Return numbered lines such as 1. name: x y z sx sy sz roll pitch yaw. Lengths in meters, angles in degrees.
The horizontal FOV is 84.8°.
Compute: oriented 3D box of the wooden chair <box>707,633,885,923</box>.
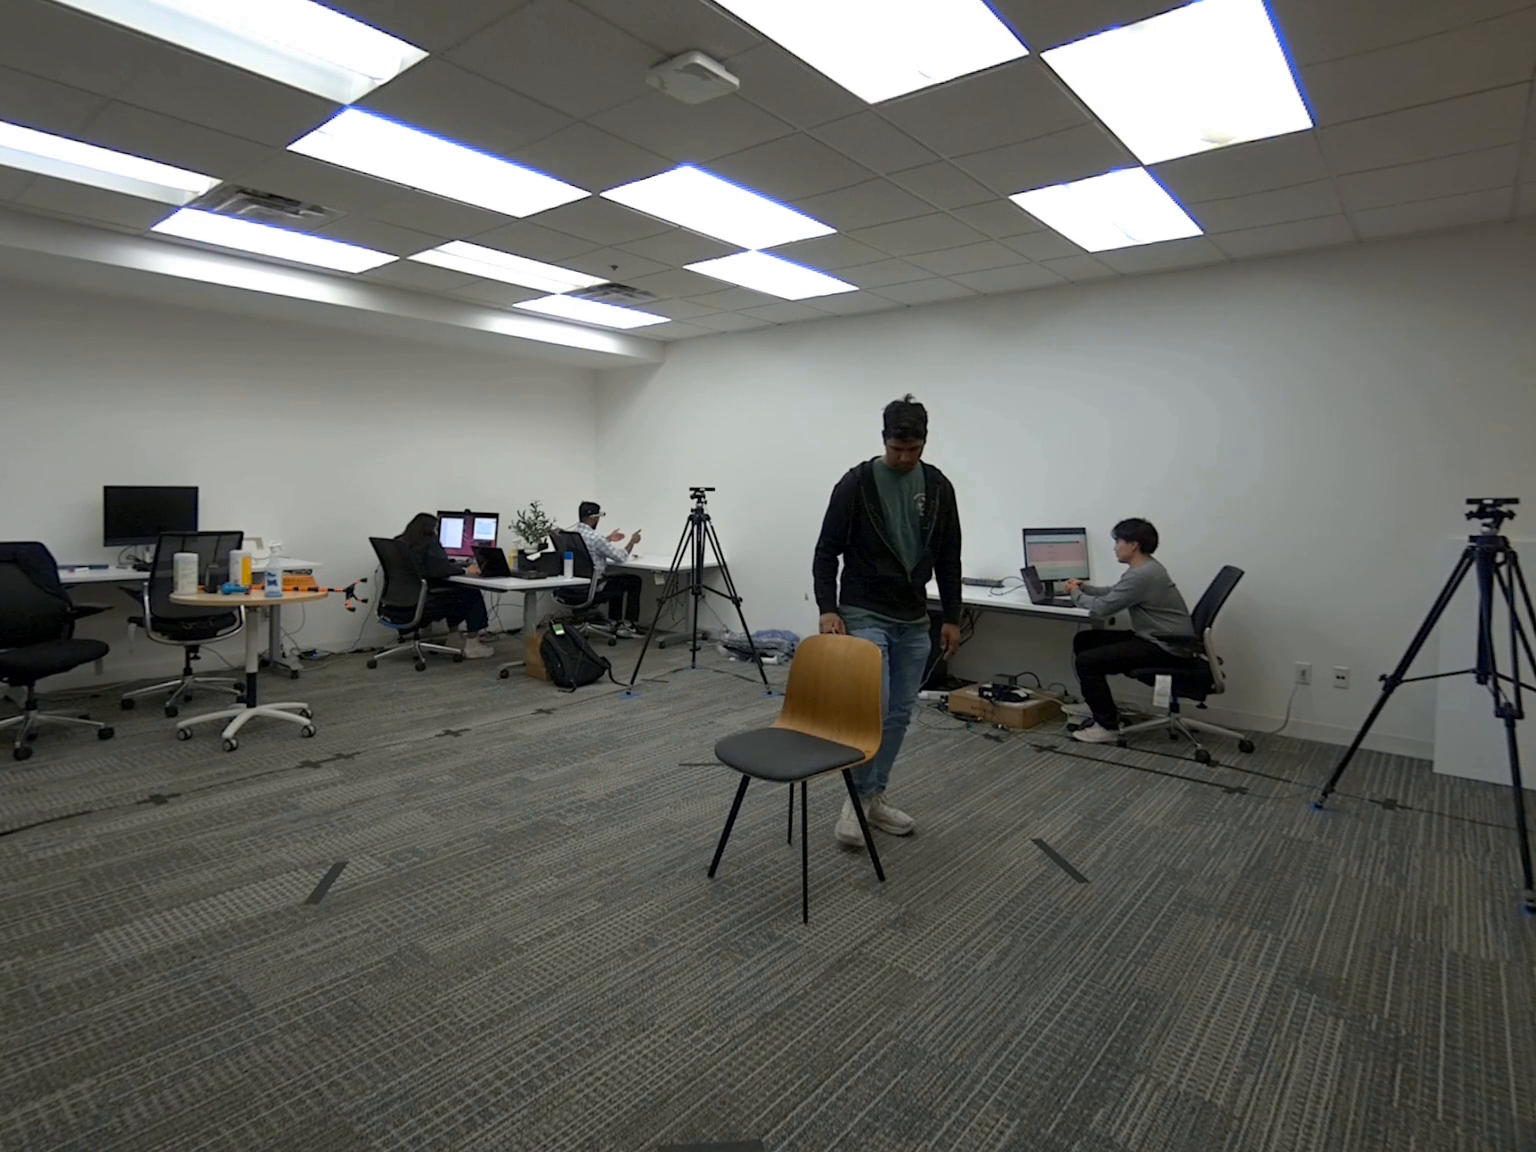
1. wooden chair: 0.095 0.658 3.008 0.494 0.877 0.505 5 1 43
